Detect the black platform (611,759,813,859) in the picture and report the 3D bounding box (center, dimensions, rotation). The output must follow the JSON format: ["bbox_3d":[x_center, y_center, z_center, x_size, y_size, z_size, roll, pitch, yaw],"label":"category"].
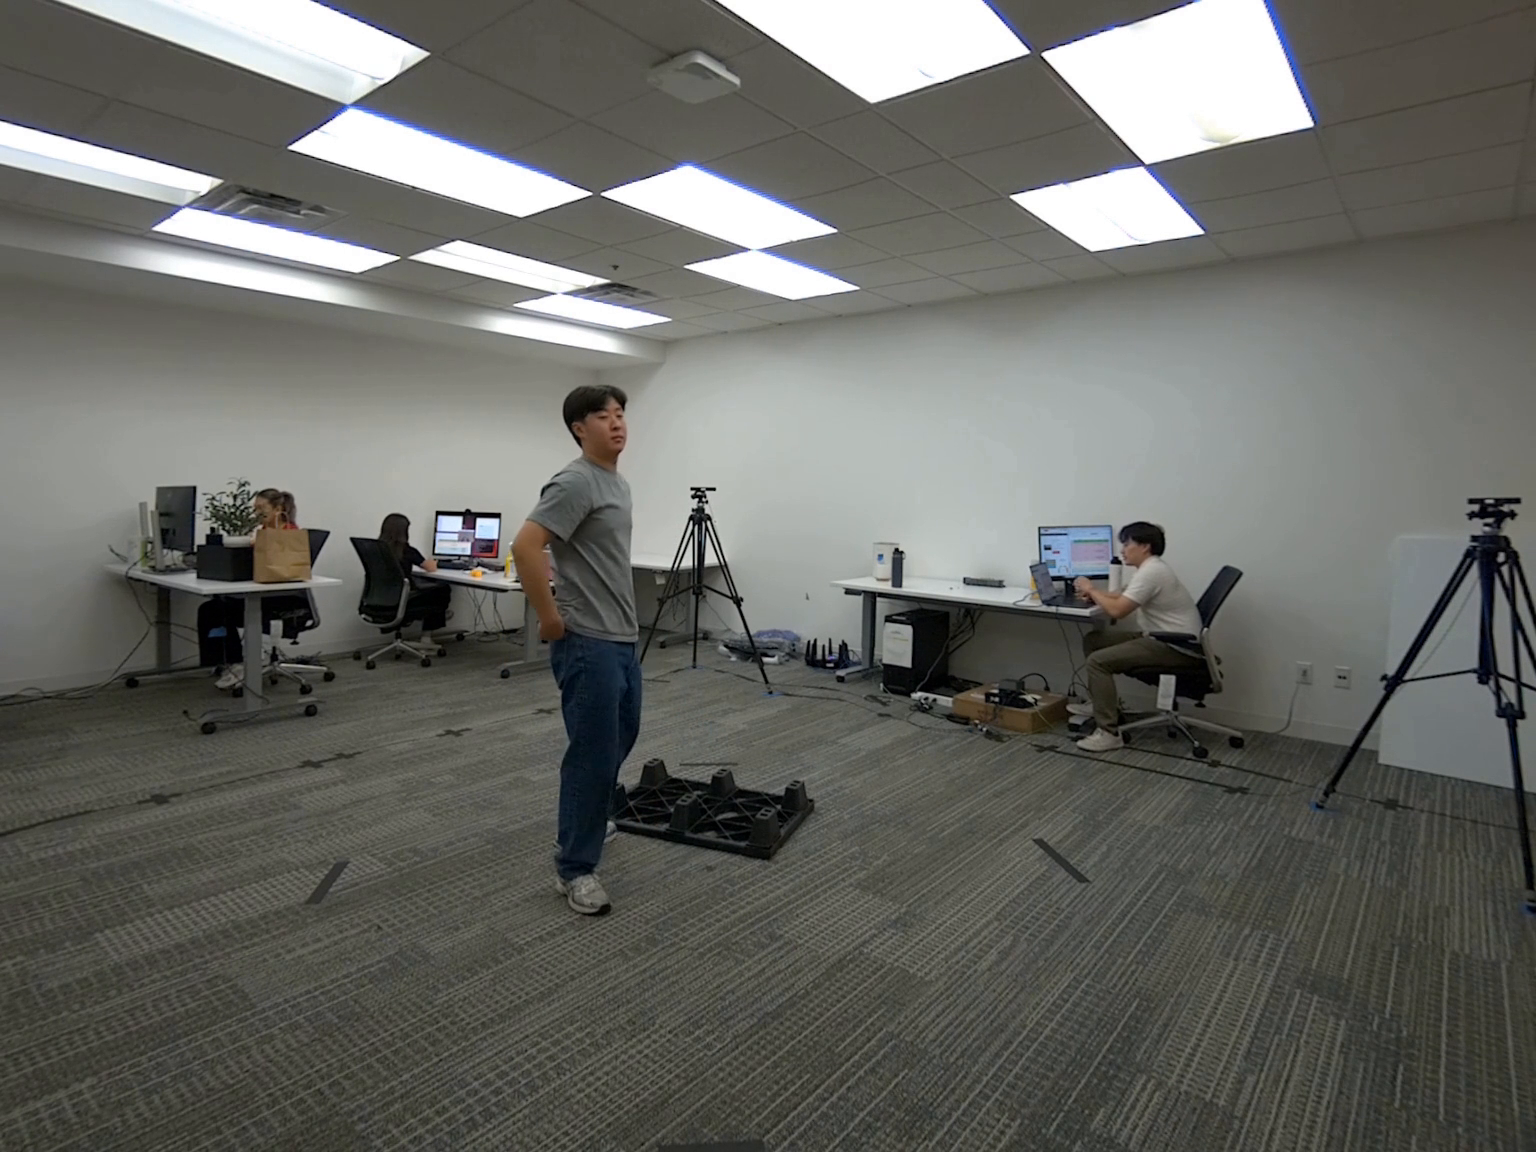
[{"bbox_3d":[-0.271,0.950,3.606,0.824,0.143,0.594,4,7,21],"label":"black platform"}]
